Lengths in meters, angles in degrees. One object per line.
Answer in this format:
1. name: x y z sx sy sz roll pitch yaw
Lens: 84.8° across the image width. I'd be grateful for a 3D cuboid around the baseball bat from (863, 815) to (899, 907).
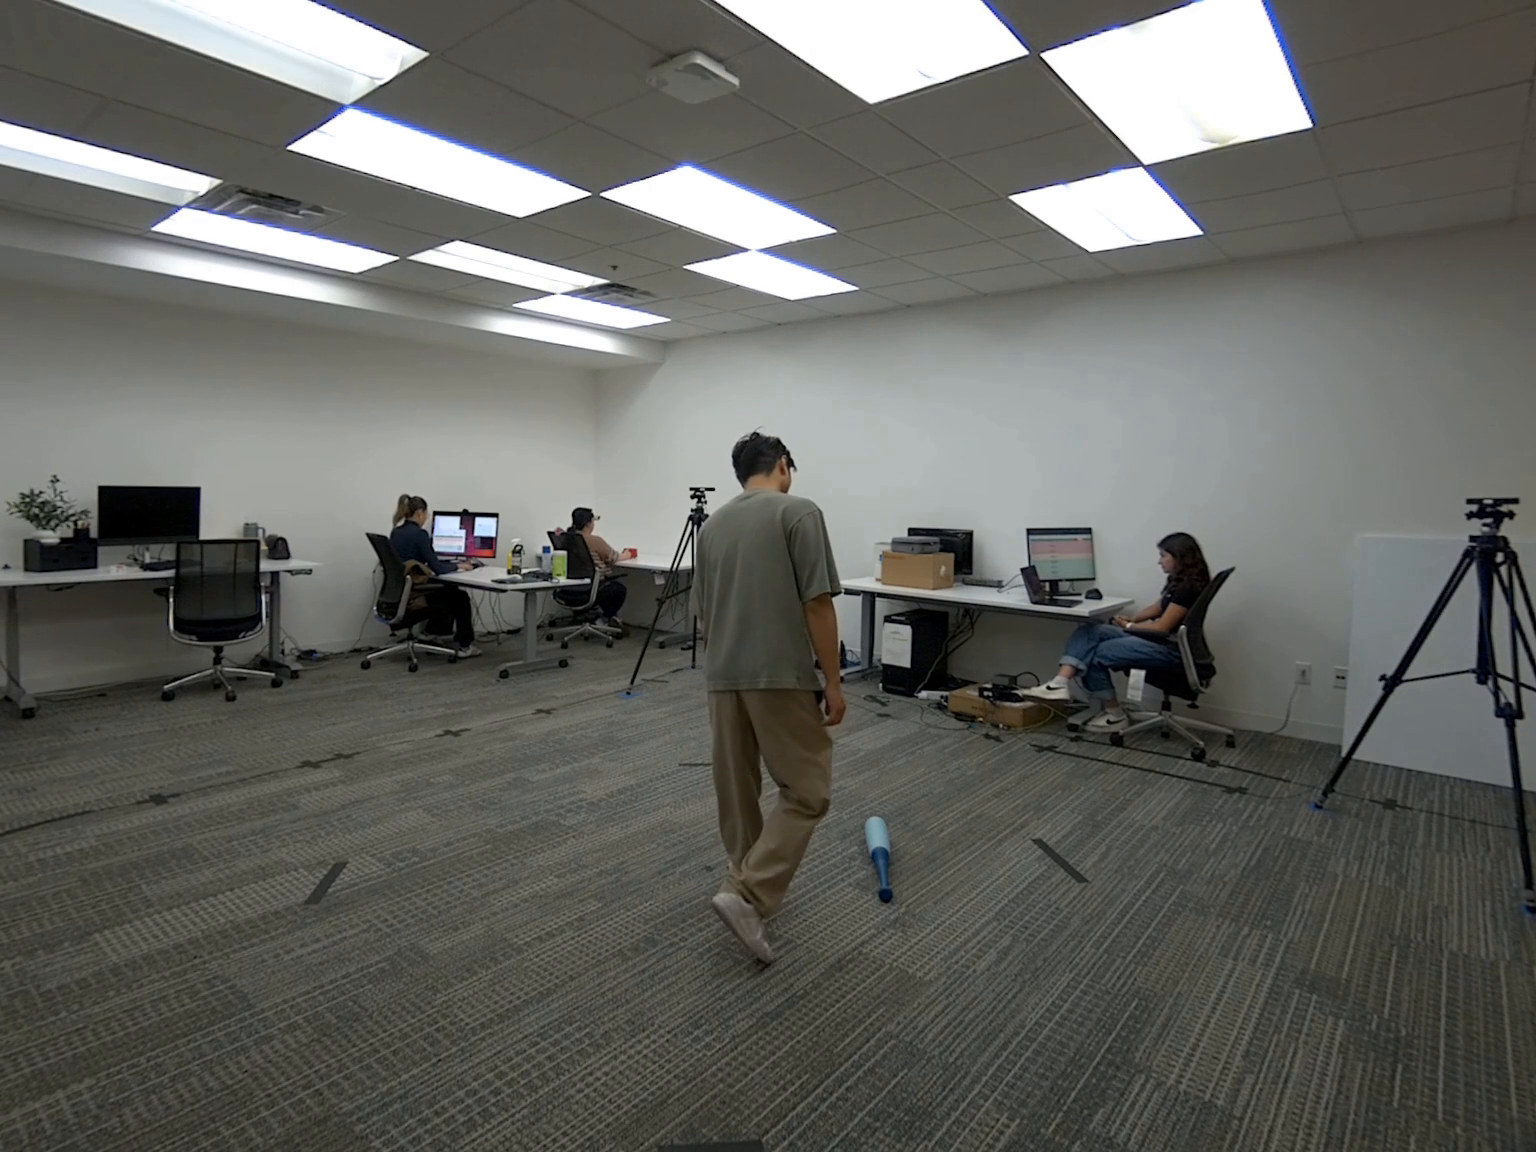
1. baseball bat: 0.410 1.038 3.147 0.089 0.088 0.544 1 8 2
